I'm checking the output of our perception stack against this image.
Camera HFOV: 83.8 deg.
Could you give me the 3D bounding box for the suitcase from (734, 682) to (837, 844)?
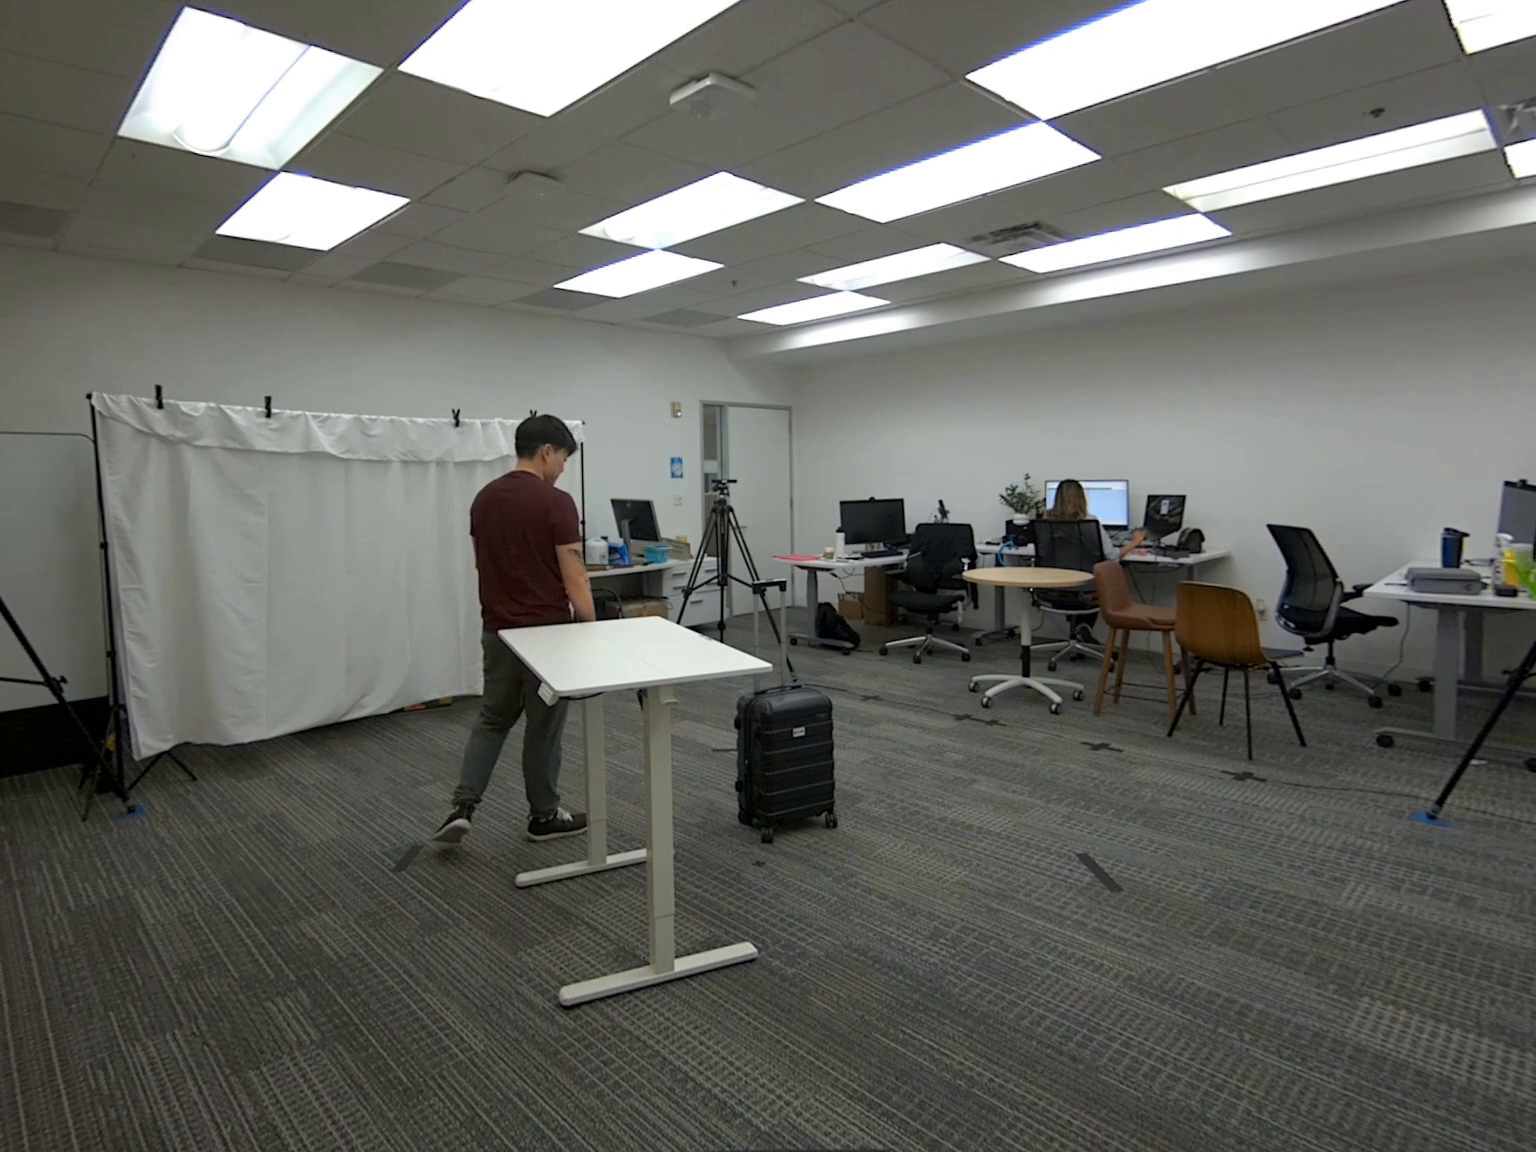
[{"bbox_3d":[0.073,0.527,3.443,0.376,0.974,0.263,-3,5,-26],"label":"suitcase"}]
